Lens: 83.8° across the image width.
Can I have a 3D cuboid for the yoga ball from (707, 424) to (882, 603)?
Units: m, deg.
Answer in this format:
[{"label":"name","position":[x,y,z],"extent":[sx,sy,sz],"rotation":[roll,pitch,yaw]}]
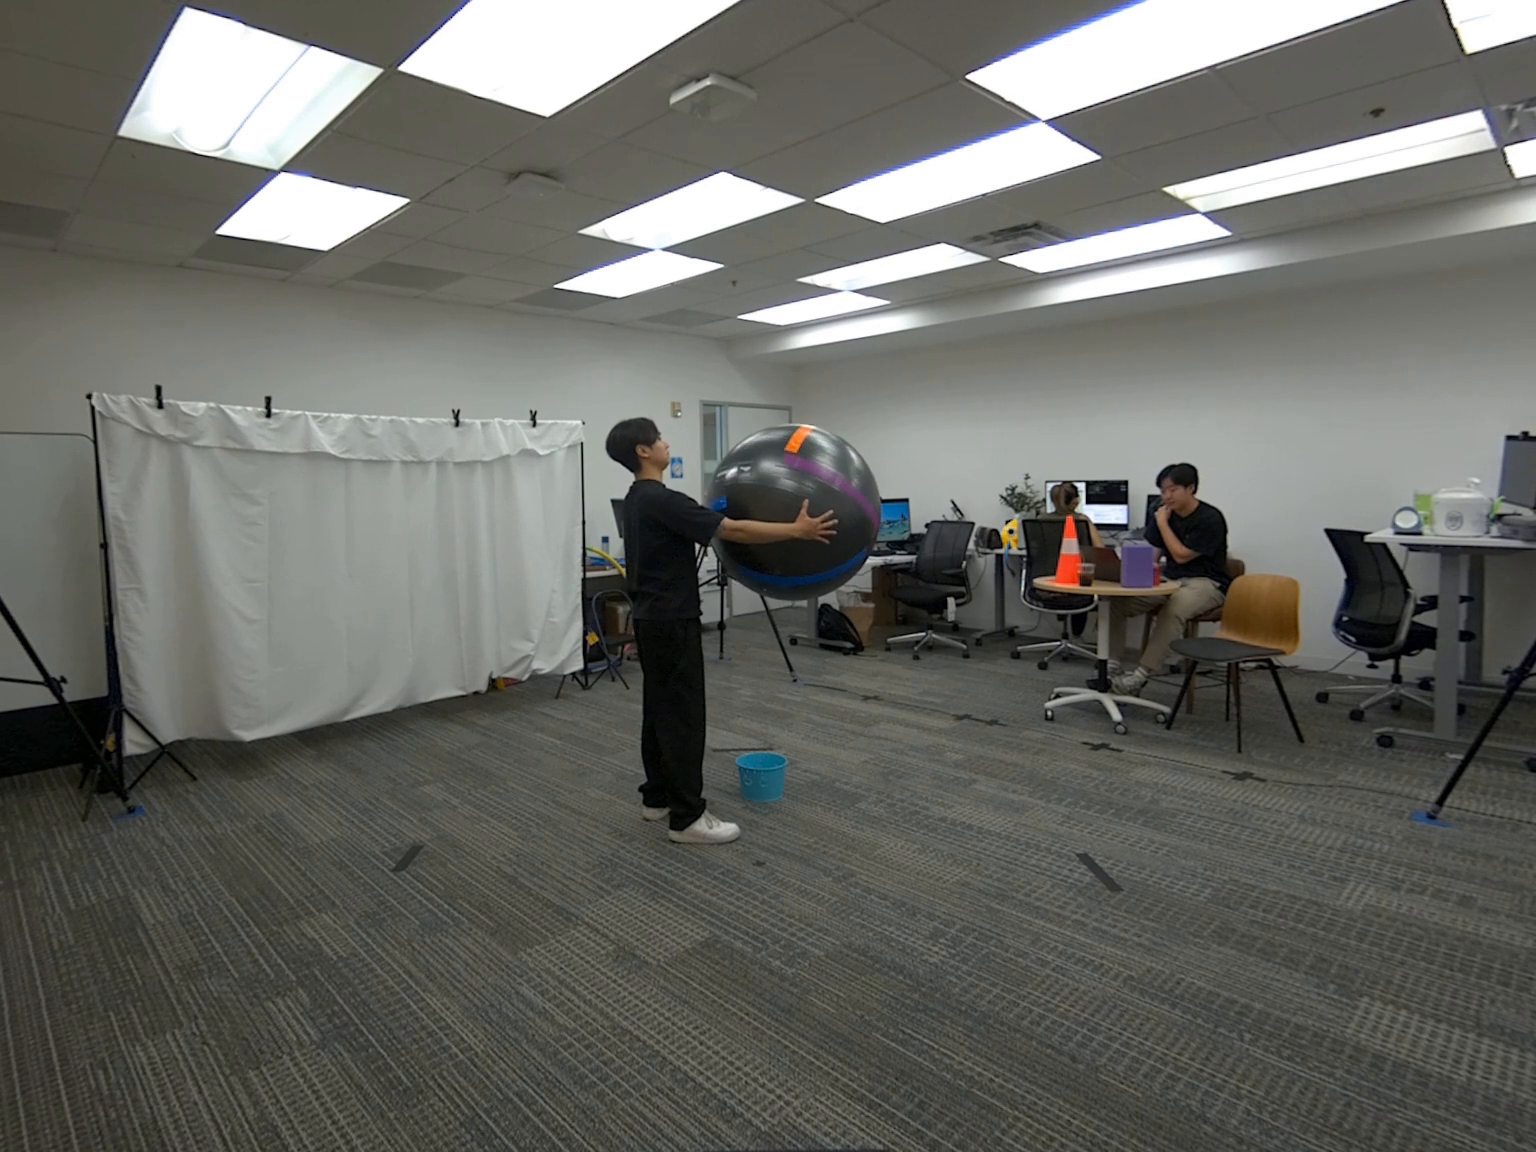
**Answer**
[{"label":"yoga ball","position":[0.107,-0.266,3.704],"extent":[0.757,0.755,0.762],"rotation":[-1,5,-2]}]
